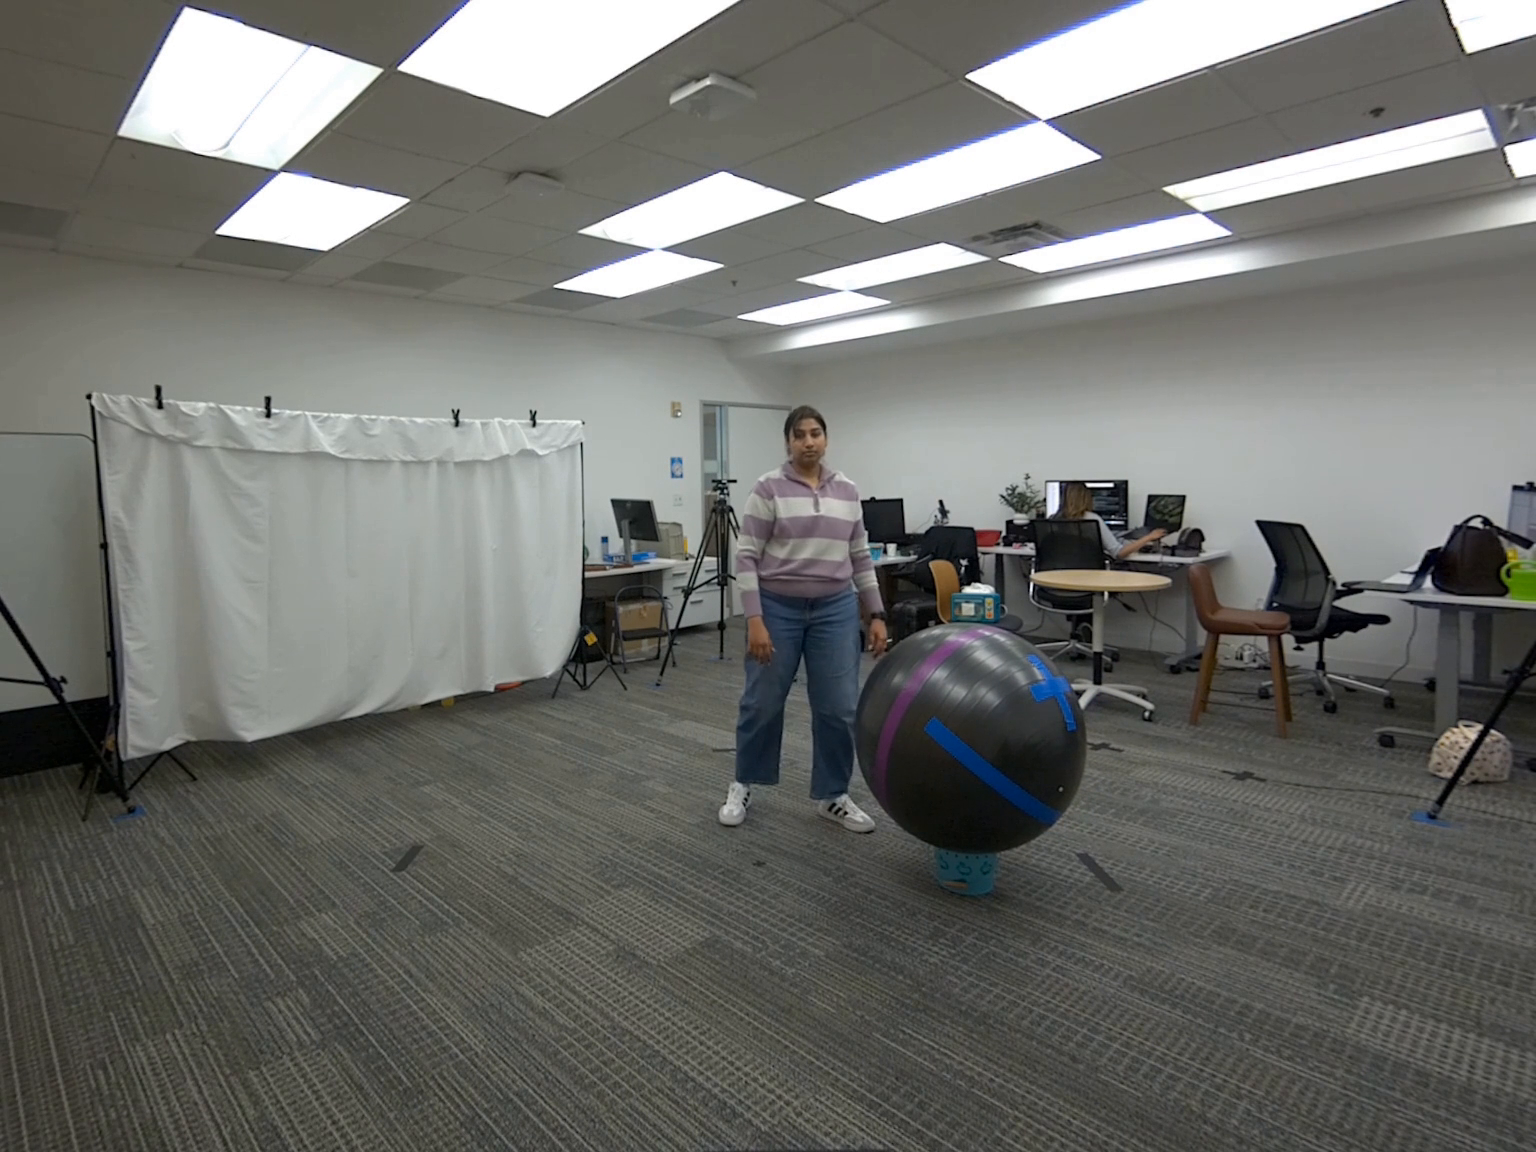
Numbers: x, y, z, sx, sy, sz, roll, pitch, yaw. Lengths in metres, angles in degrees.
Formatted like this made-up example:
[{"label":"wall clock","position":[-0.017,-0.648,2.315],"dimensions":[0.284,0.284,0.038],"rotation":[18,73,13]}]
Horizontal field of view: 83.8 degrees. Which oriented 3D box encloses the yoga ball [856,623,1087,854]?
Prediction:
[{"label":"yoga ball","position":[0.687,0.548,2.906],"dimensions":[0.757,0.755,0.762],"rotation":[-1,5,-2]}]
